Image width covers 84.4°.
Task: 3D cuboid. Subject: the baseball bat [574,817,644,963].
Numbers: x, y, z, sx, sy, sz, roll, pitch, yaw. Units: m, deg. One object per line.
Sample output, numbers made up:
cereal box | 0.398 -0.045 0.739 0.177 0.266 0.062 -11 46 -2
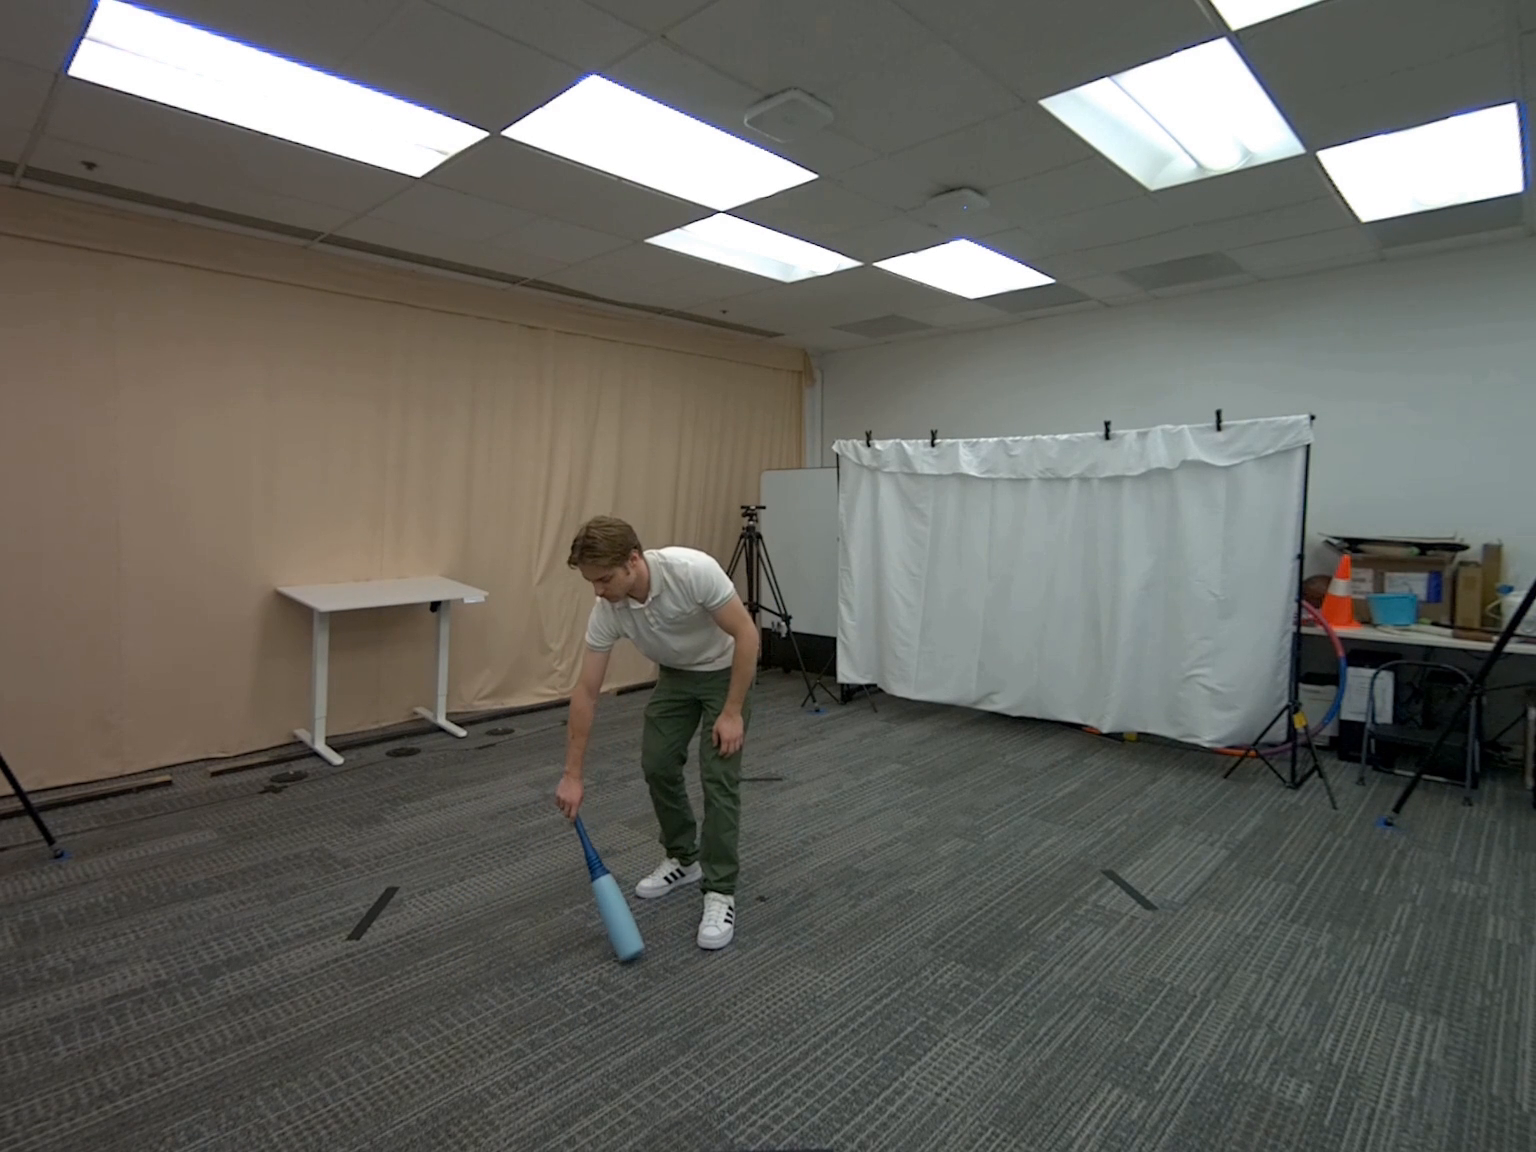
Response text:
baseball bat | -0.535 0.951 2.671 0.088 0.557 0.088 -25 -26 -14
